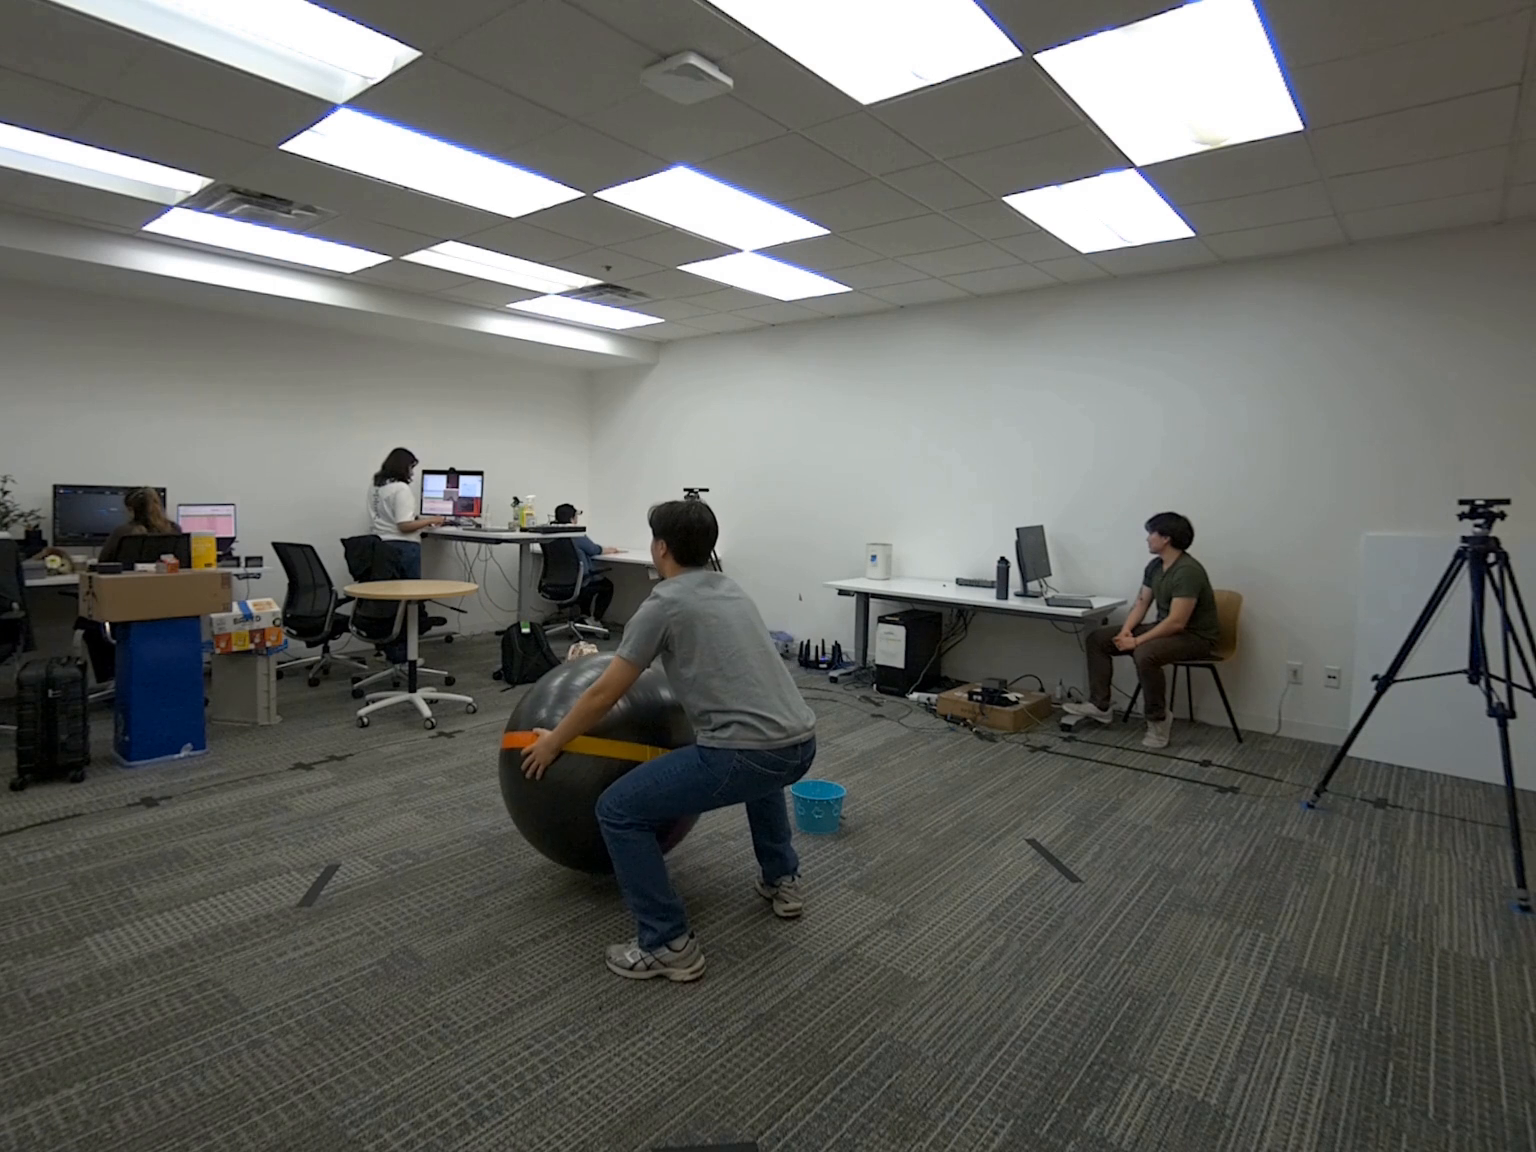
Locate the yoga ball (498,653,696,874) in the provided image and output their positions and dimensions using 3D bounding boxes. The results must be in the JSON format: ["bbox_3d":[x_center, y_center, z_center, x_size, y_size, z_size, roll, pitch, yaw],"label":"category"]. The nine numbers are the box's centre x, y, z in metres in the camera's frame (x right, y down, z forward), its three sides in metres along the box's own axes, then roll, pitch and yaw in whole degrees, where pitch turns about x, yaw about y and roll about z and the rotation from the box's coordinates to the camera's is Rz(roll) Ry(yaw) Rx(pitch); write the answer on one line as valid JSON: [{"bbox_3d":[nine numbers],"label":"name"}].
[{"bbox_3d":[-0.592,0.638,3.037,0.757,0.755,0.762,1,4,-2],"label":"yoga ball"}]
